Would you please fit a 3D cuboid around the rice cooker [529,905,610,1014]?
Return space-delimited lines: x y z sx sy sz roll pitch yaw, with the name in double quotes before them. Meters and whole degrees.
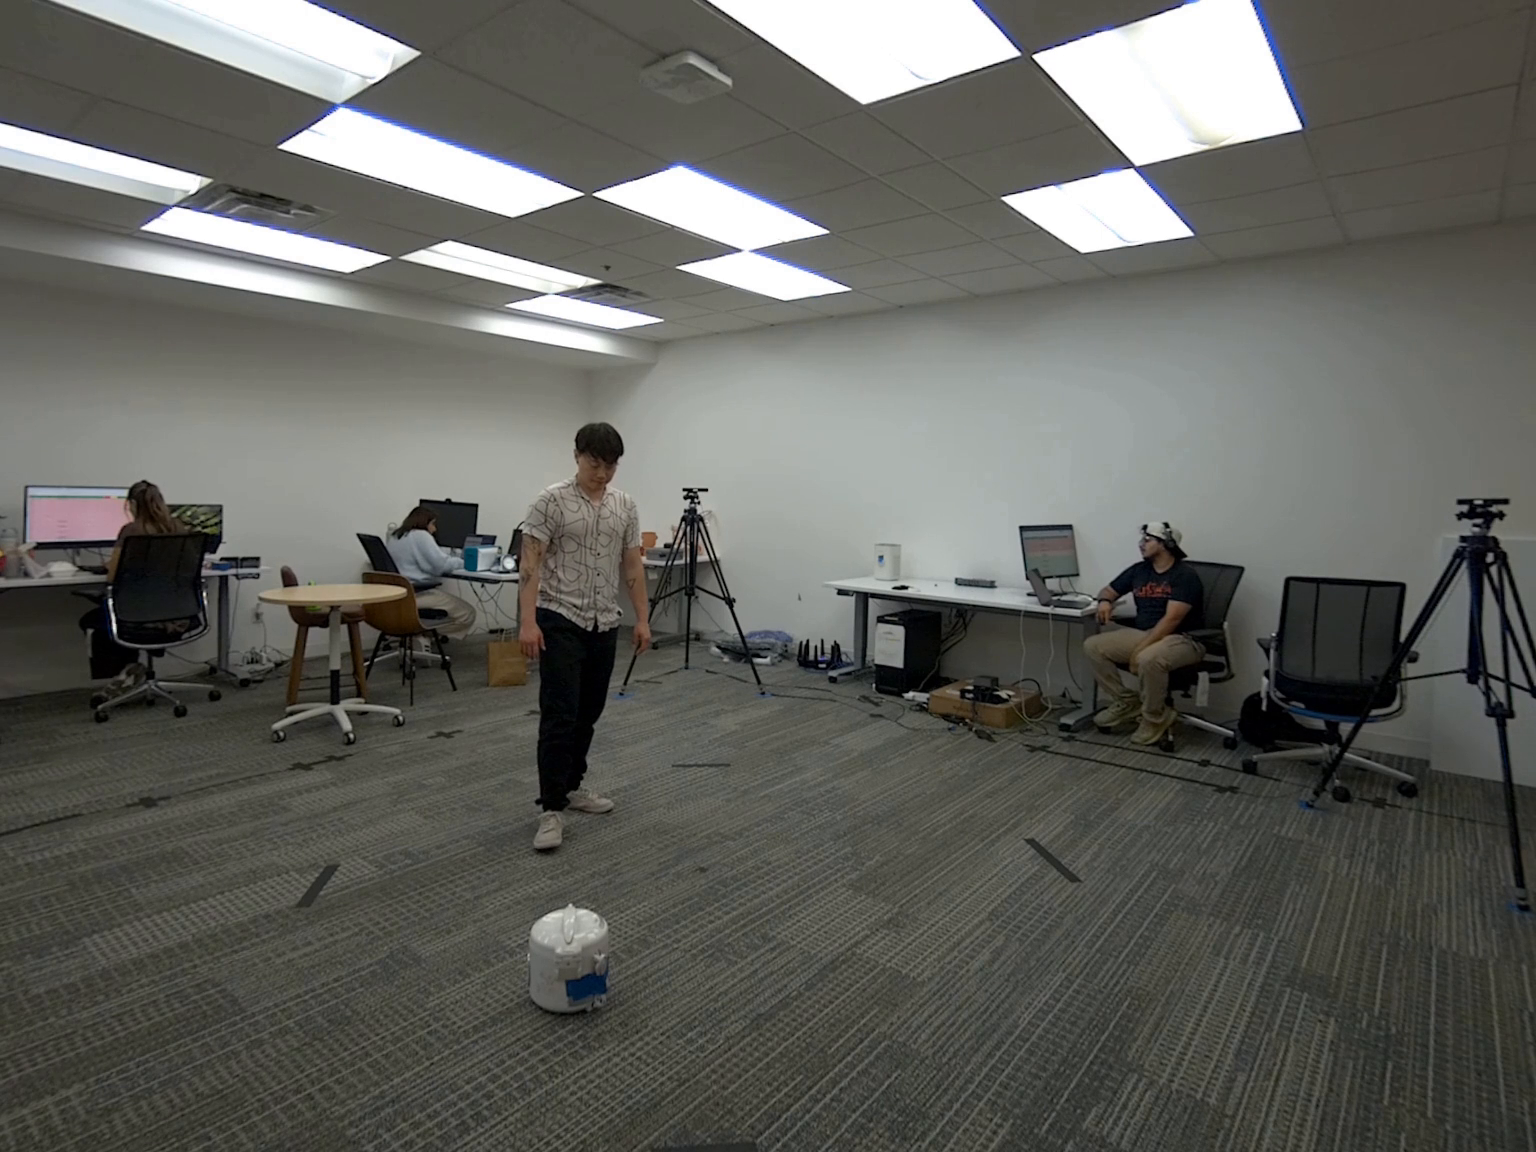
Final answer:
"rice cooker" -0.547 1.026 2.311 0.215 0.232 0.223 1 3 -9
